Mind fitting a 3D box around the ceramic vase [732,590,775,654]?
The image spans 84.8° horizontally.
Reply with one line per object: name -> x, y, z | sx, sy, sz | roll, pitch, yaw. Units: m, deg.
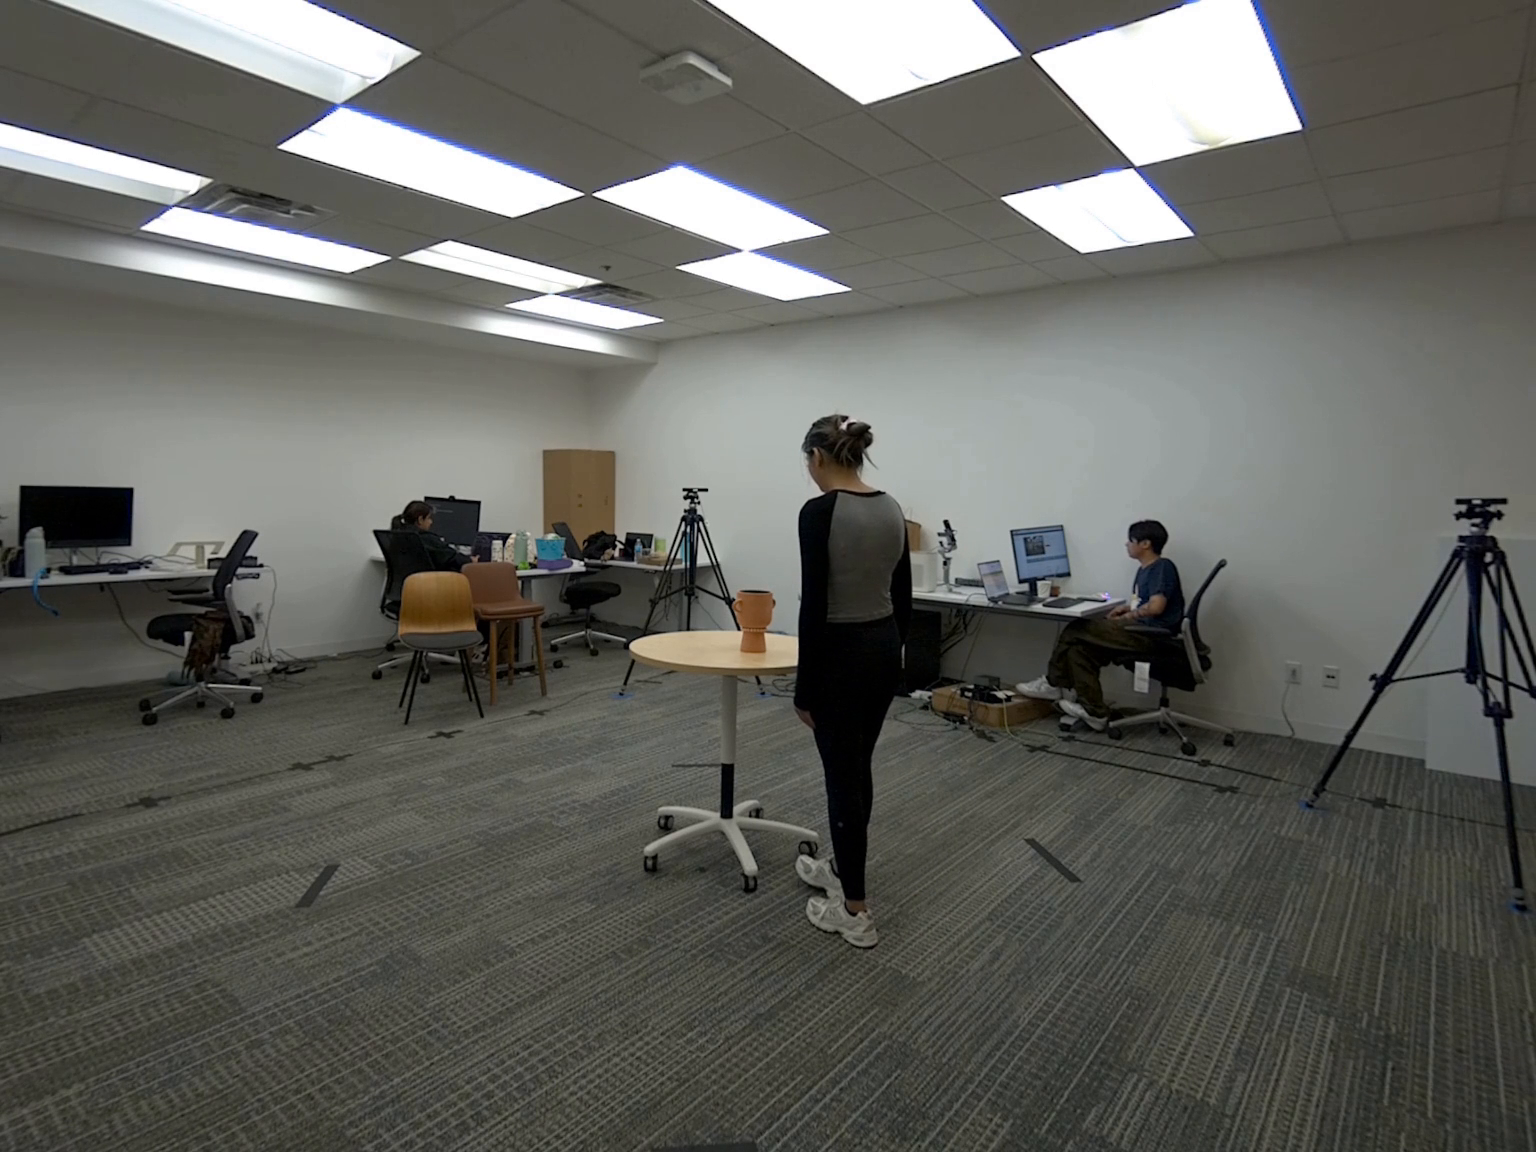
ceramic vase -> -0.060, 0.166, 3.163 | 0.159, 0.219, 0.135 | 1, 3, 1
